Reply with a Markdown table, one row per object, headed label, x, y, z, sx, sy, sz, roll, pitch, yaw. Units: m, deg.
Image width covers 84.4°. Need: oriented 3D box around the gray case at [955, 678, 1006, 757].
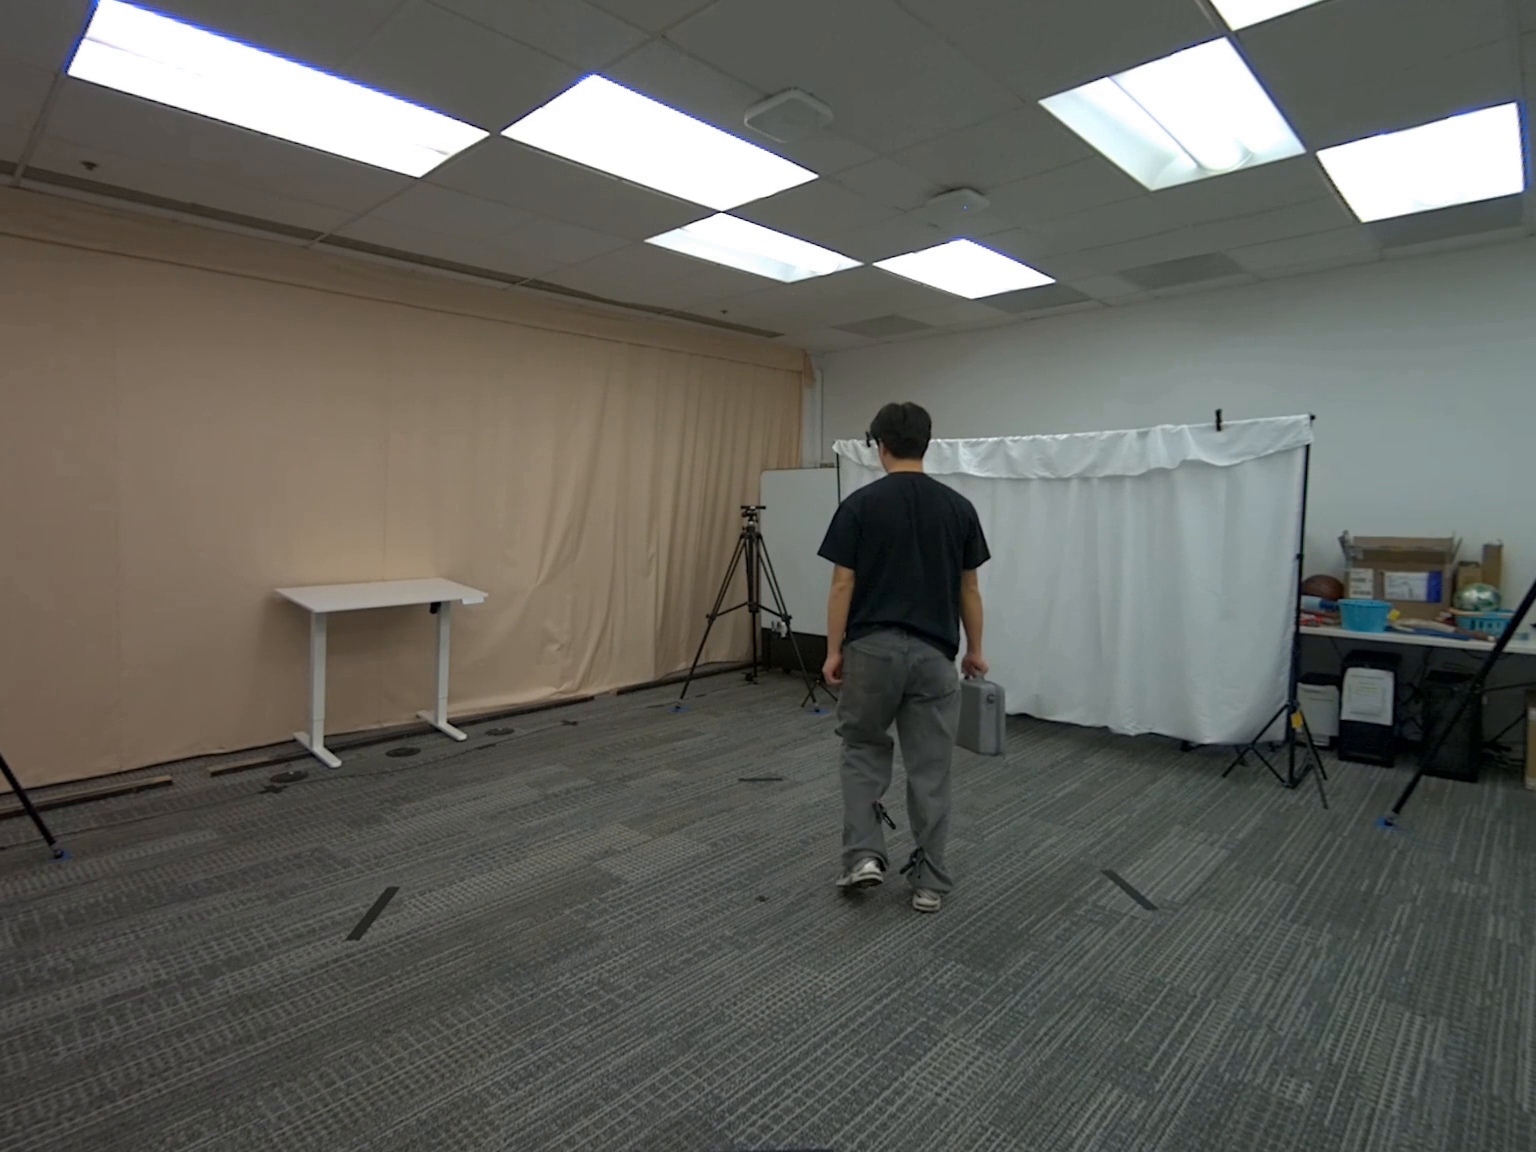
| label | x | y | z | sx | sy | sz | roll | pitch | yaw |
| --- | --- | --- | --- | --- | --- | --- | --- | --- | --- |
| gray case | 0.759 | 0.499 | 3.056 | 0.102 | 0.288 | 0.266 | 2 | -3 | -13 |
